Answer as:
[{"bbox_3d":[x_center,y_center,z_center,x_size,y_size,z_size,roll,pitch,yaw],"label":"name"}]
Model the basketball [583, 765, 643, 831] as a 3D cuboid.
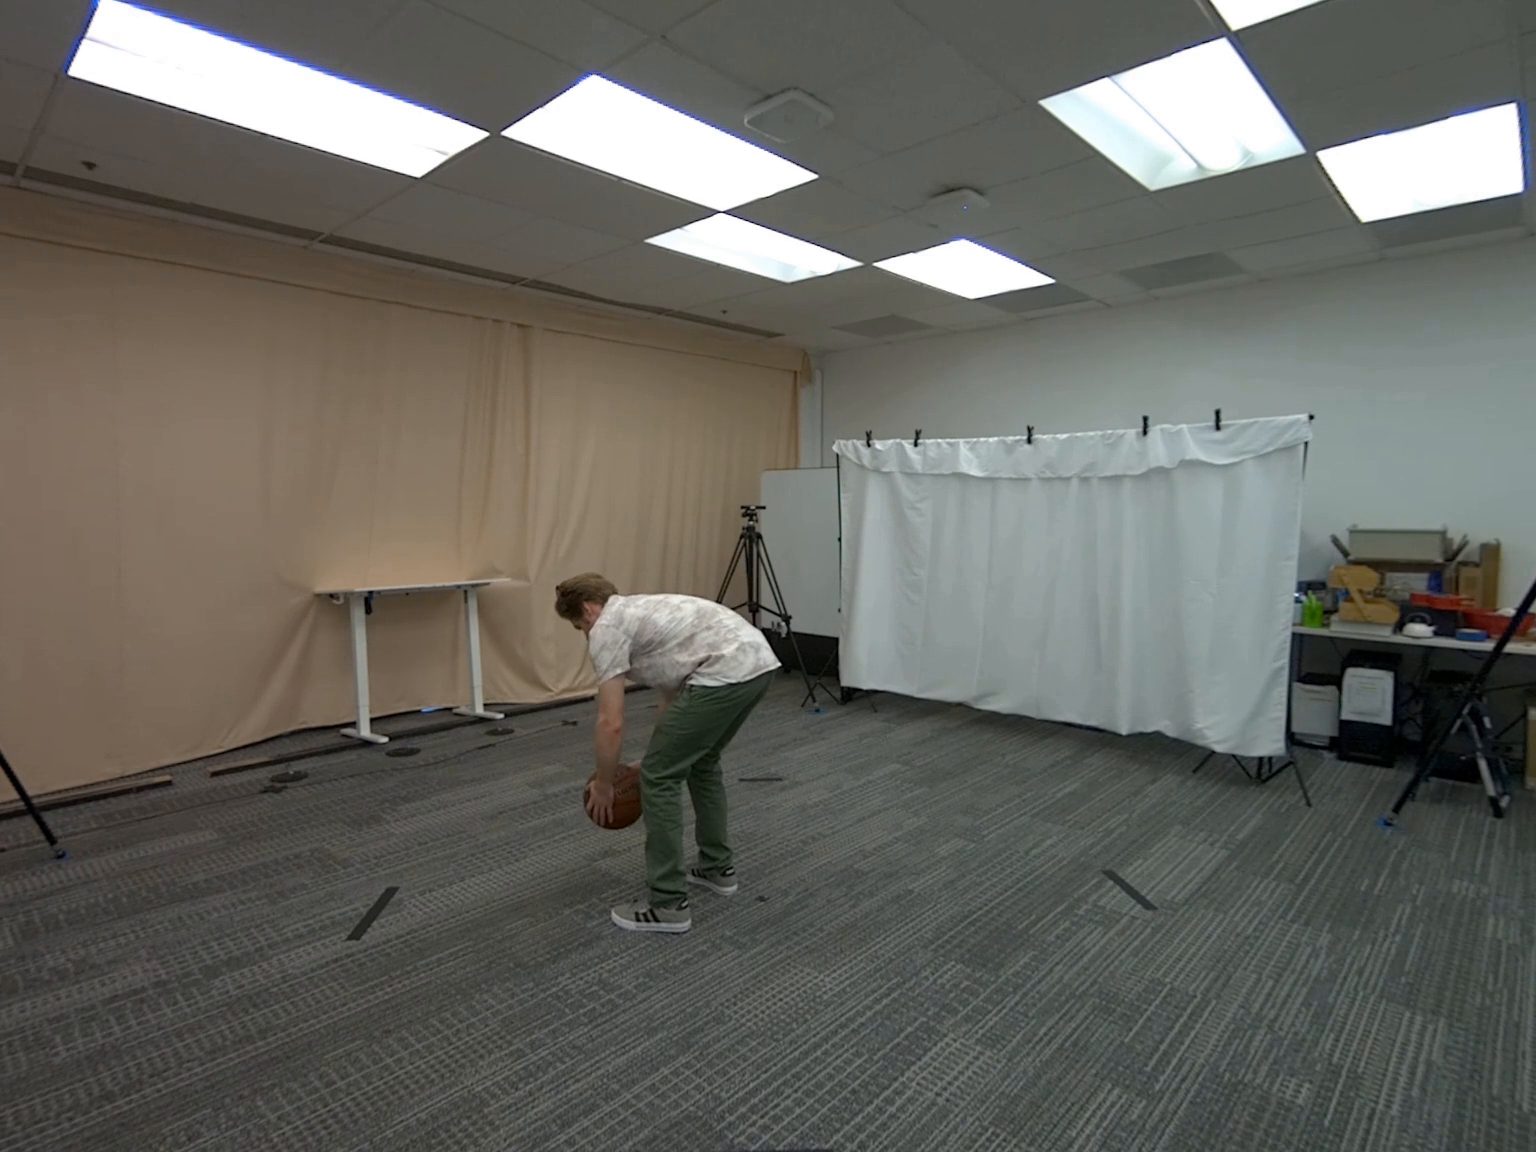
[{"bbox_3d":[-0.568,0.827,3.144,0.236,0.235,0.237,0,4,-2],"label":"basketball"}]
